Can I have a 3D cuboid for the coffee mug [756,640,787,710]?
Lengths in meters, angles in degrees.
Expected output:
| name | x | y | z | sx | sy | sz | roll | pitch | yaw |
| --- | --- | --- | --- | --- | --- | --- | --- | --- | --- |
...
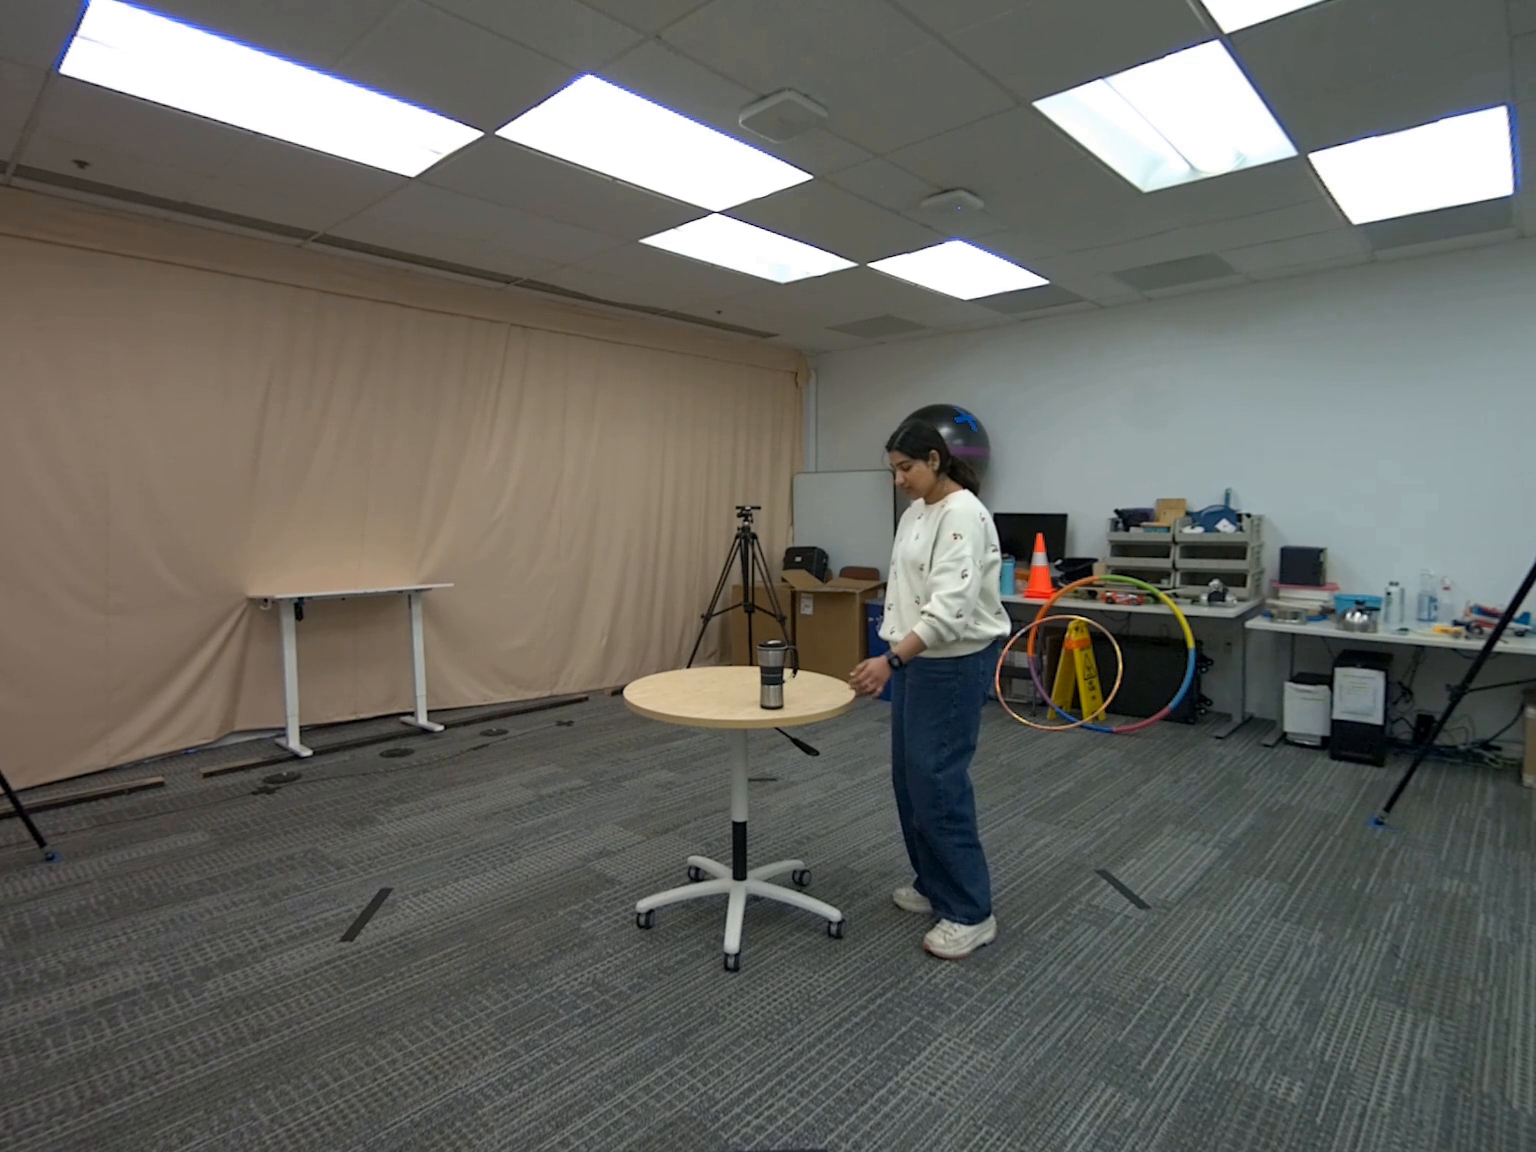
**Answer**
| name | x | y | z | sx | sy | sz | roll | pitch | yaw |
| --- | --- | --- | --- | --- | --- | --- | --- | --- | --- |
| coffee mug | 0.038 | 0.304 | 2.541 | 0.085 | 0.203 | 0.126 | 7 | -4 | -45 |
